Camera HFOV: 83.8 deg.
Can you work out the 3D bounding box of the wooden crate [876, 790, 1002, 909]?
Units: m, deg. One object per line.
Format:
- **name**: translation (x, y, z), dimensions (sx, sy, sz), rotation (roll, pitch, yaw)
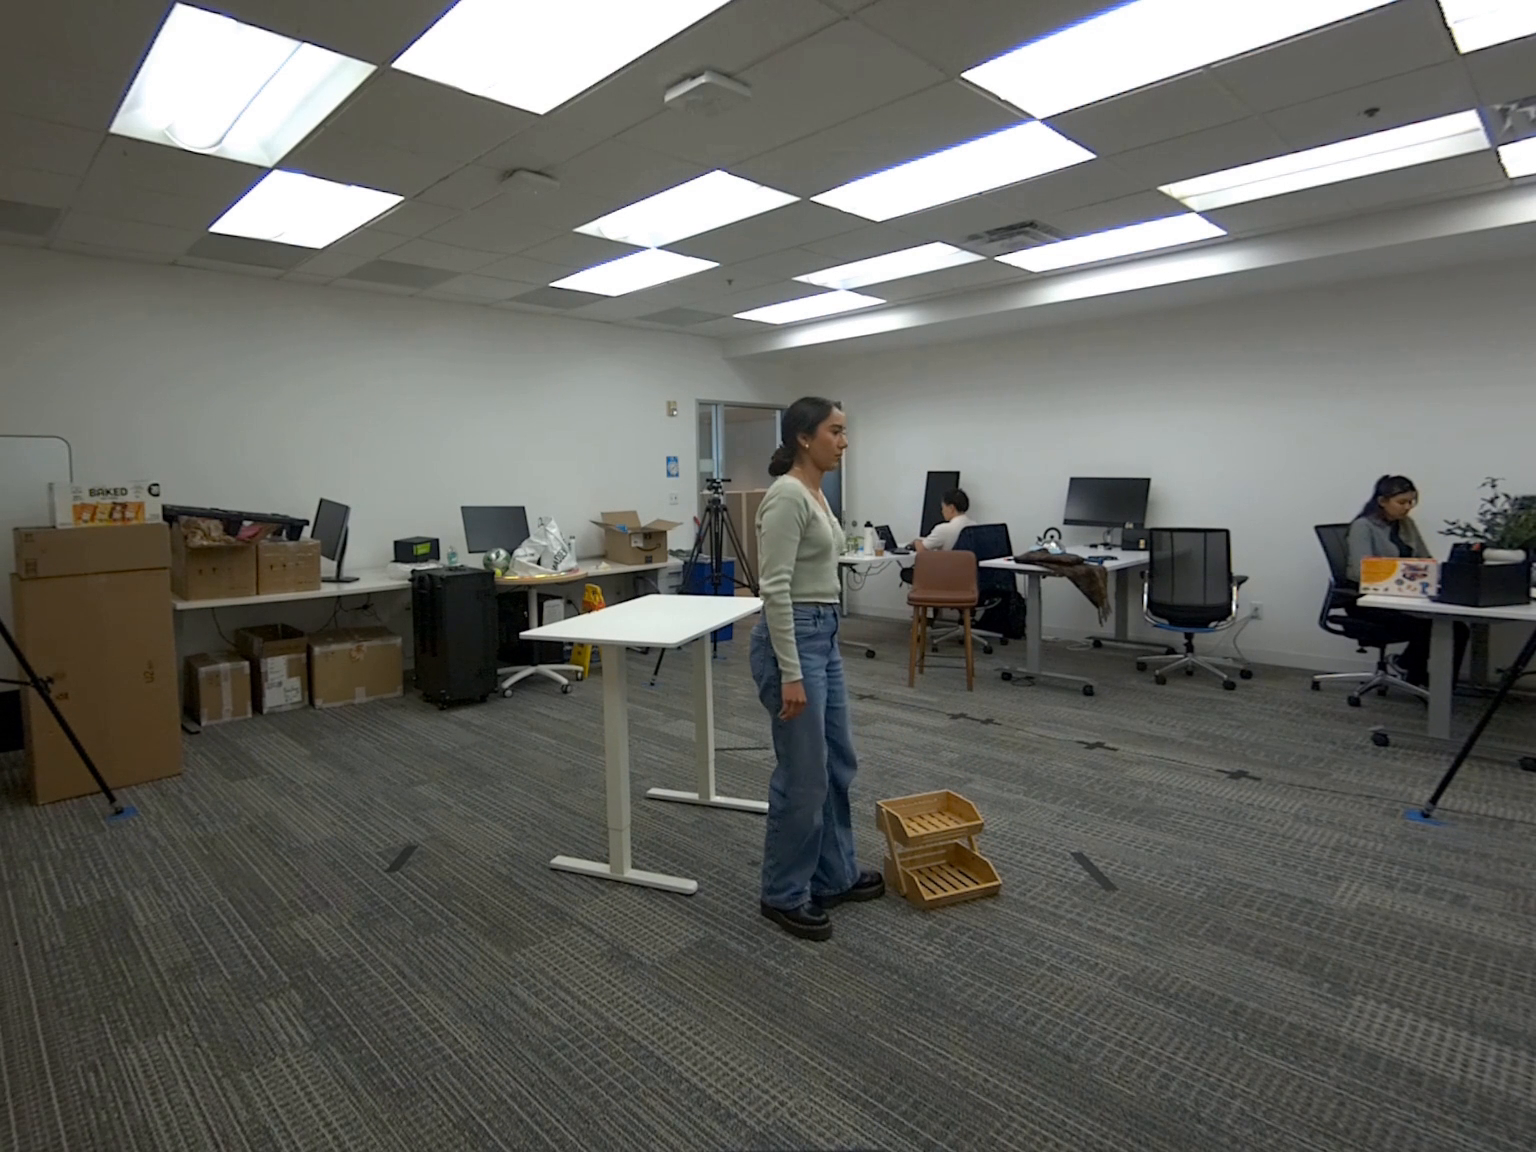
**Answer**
- **wooden crate**: translation (0.587, 0.924, 2.904), dimensions (0.318, 0.272, 0.309), rotation (-3, 5, -22)
